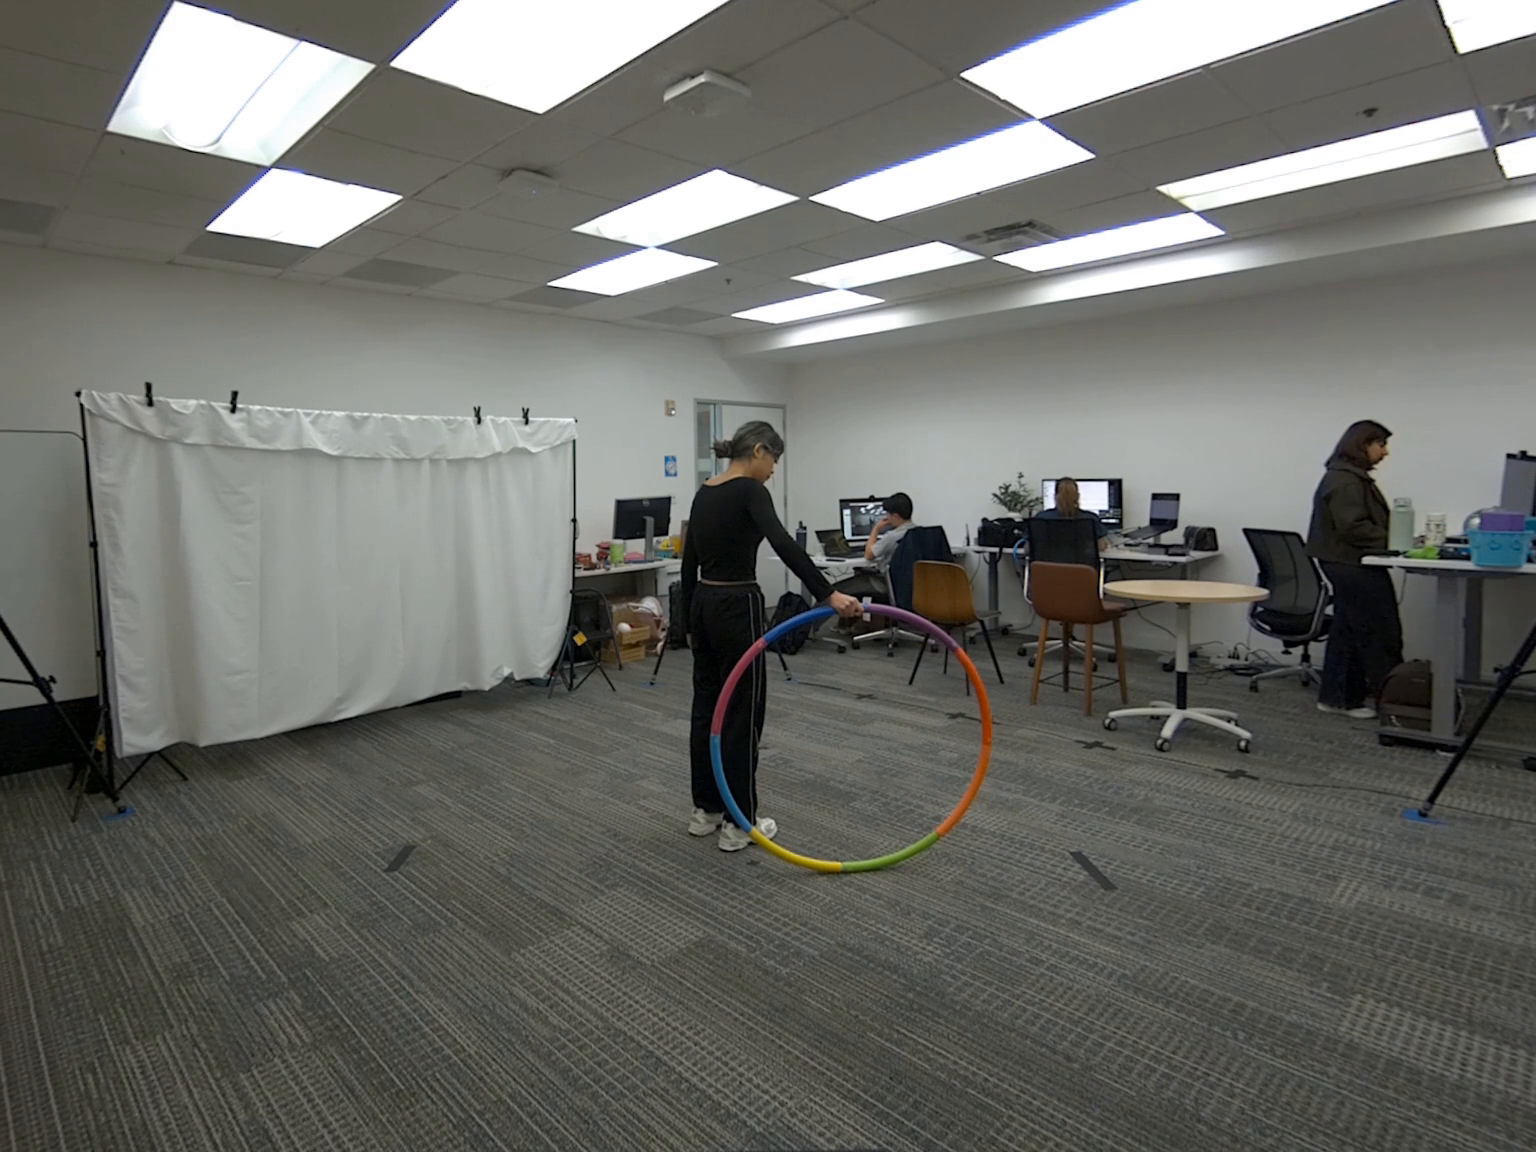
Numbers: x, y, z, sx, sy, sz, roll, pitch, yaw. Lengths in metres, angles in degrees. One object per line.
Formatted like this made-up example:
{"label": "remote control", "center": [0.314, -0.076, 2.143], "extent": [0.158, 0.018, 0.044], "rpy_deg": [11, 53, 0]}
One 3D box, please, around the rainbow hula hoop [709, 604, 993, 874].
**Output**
{"label": "rainbow hula hoop", "center": [0.299, 0.569, 2.999], "extent": [0.972, 0.975, 0.036], "rpy_deg": [-2, 4, -7]}
